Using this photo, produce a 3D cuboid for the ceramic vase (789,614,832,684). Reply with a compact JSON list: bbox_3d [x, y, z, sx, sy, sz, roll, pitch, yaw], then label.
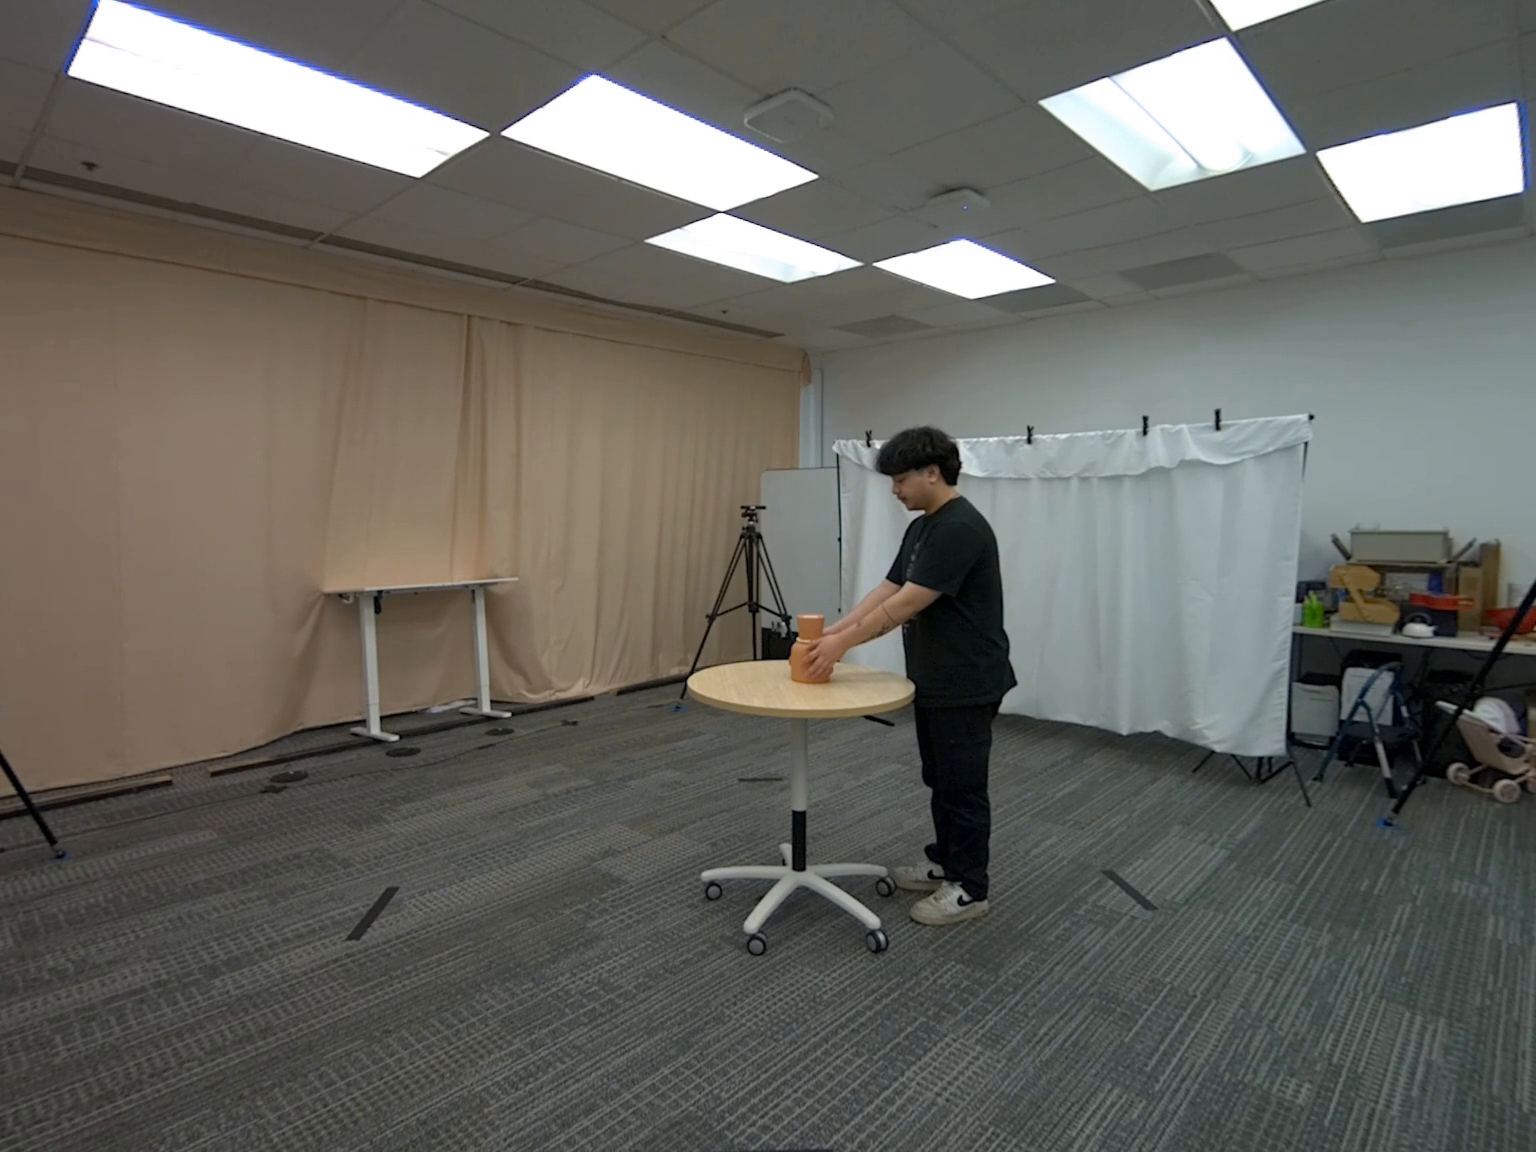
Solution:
[{"bbox_3d":[0.154,0.248,2.902,0.160,0.219,0.134,1,3,6],"label":"ceramic vase"}]
